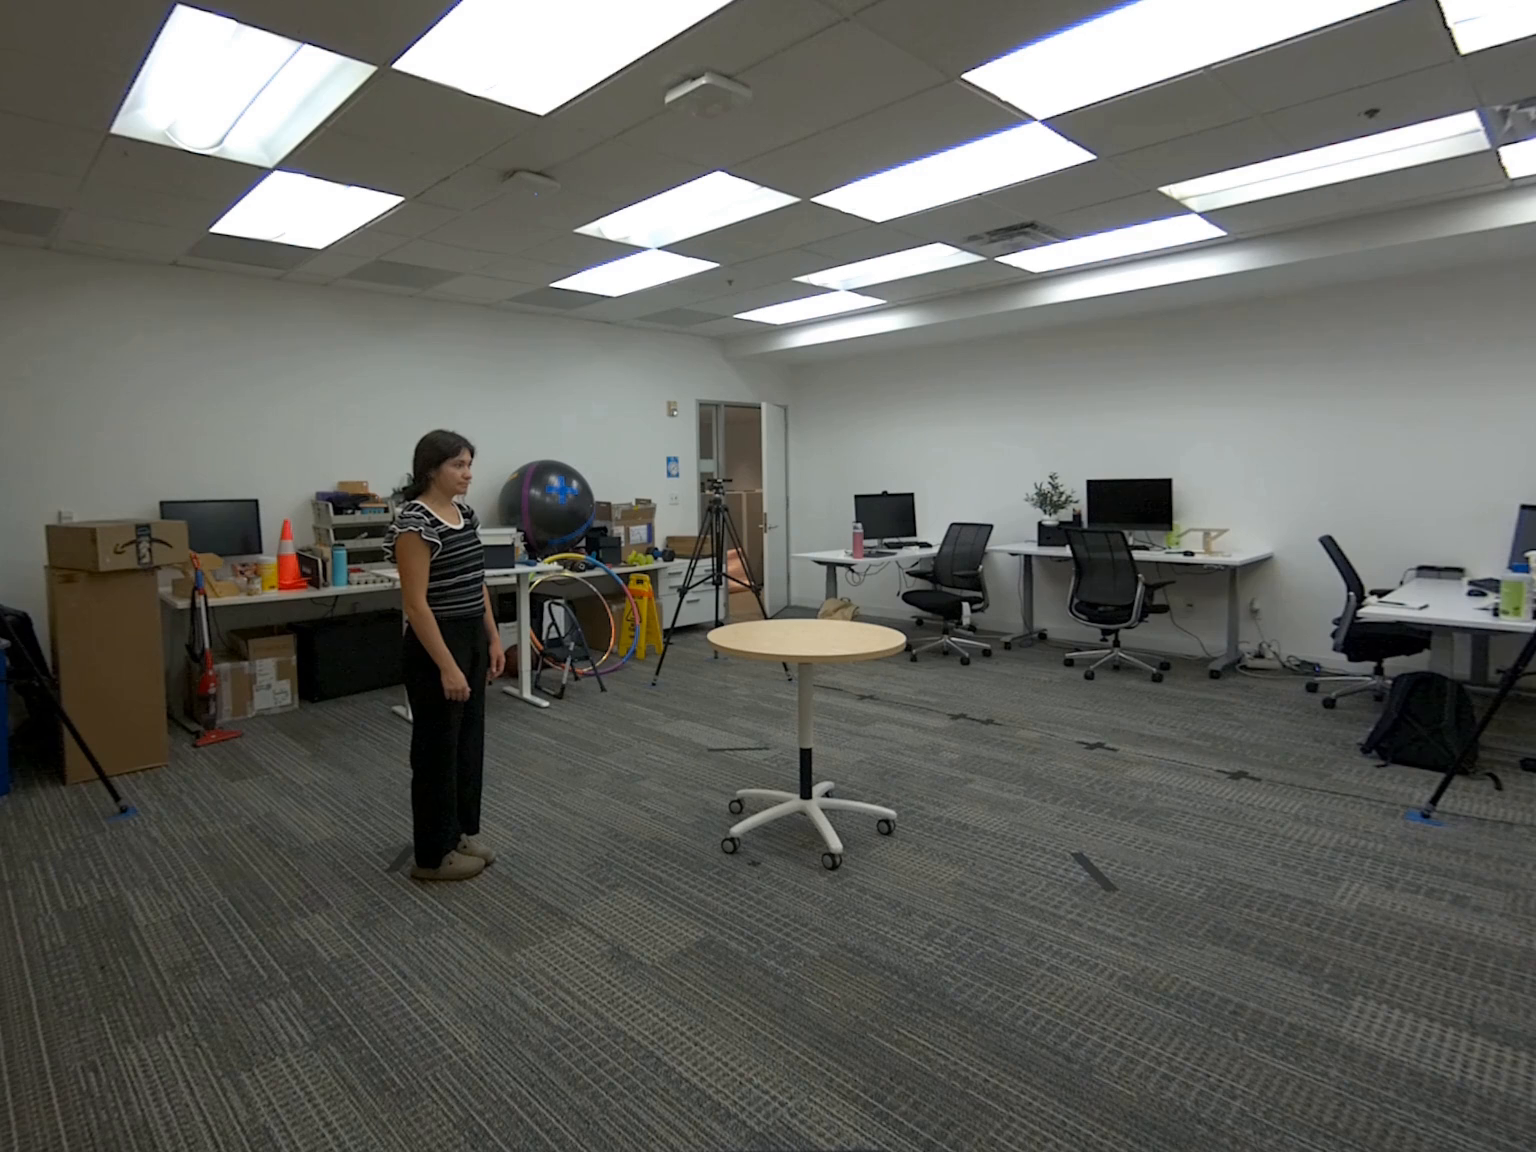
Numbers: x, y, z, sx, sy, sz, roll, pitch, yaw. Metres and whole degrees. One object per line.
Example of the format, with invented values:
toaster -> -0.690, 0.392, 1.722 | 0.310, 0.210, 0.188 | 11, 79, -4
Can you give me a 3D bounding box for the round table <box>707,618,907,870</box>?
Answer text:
round table -> 0.140, 0.621, 3.332 | 0.784, 0.784, 0.789 | -1, 4, -2
